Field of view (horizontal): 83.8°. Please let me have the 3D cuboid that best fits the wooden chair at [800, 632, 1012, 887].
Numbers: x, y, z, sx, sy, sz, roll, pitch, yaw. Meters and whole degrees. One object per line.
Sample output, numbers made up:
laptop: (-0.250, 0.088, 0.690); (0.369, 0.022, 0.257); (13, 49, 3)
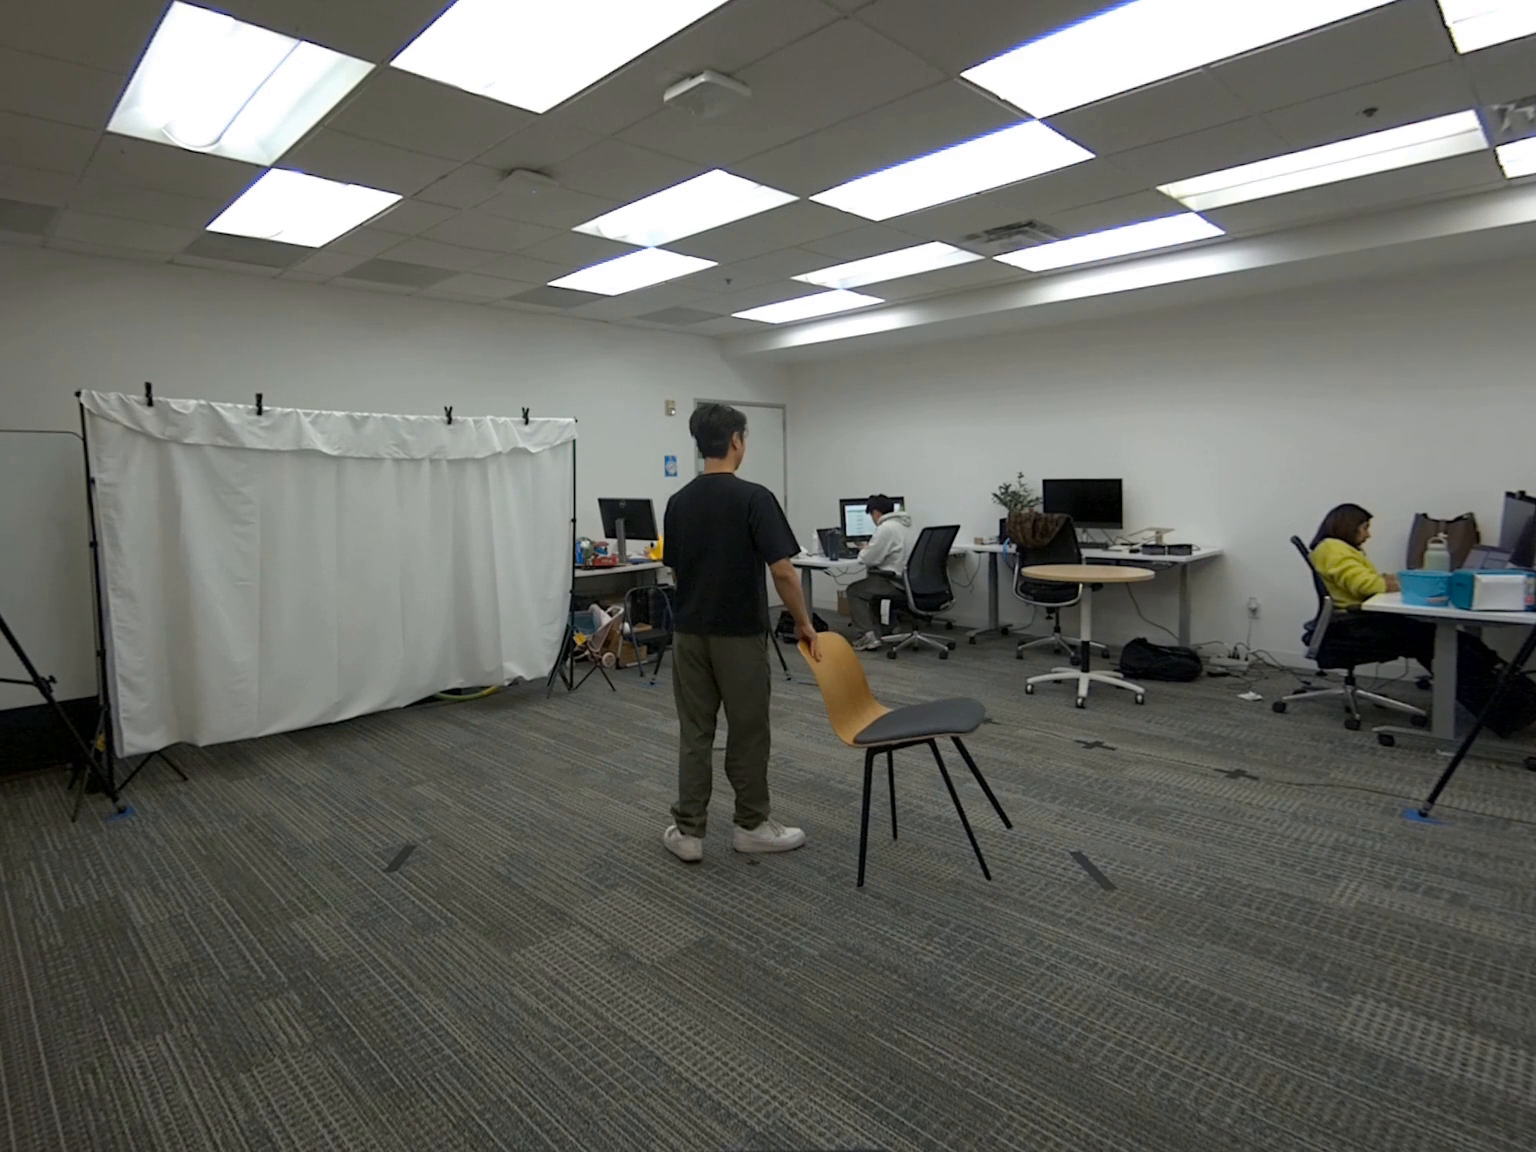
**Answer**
wooden chair: (0.497, 0.571, 3.016); (0.531, 0.883, 0.468); (-20, -5, 26)
